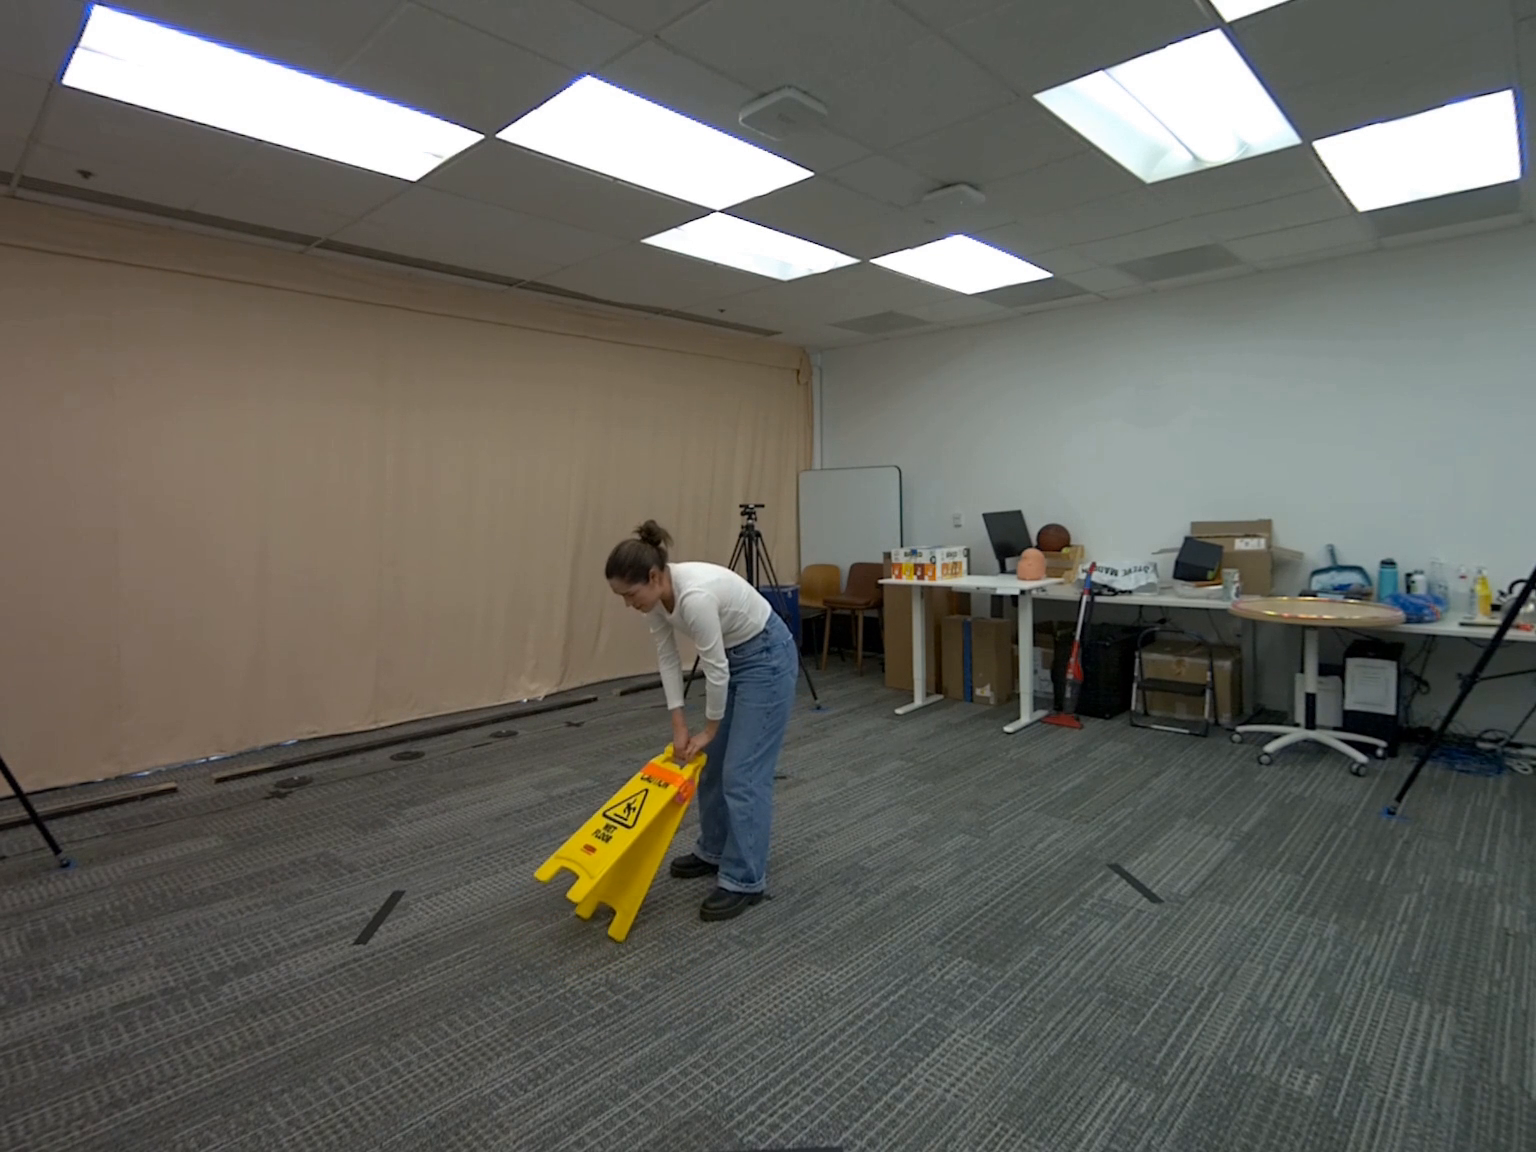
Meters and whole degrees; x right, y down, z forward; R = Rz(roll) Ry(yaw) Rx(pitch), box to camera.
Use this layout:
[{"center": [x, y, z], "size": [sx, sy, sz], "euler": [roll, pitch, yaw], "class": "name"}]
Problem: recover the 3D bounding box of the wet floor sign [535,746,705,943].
[{"center": [-0.448, 0.860, 2.885], "size": [0.292, 0.281, 0.643], "euler": [5, 49, 47], "class": "wet floor sign"}]
